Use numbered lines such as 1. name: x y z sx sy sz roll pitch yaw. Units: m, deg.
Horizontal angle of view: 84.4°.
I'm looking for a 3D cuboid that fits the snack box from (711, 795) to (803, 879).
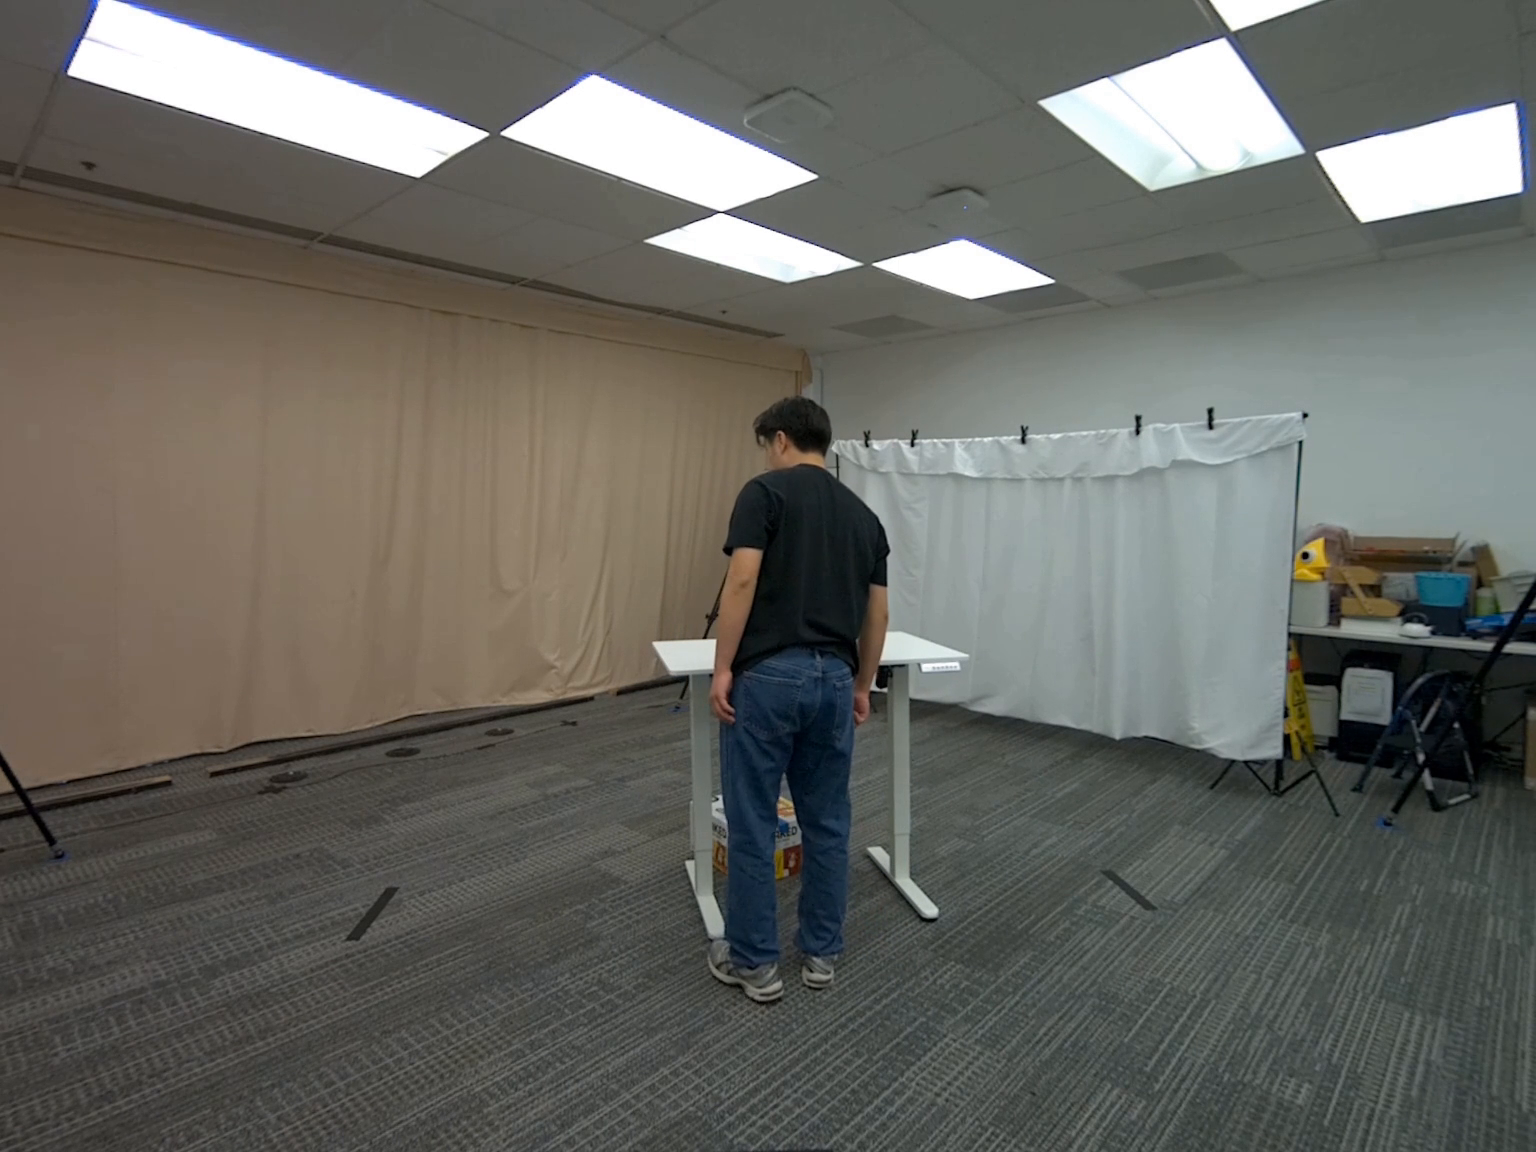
1. snack box: -0.056 1.014 3.312 0.331 0.205 0.418 -3 5 -33
